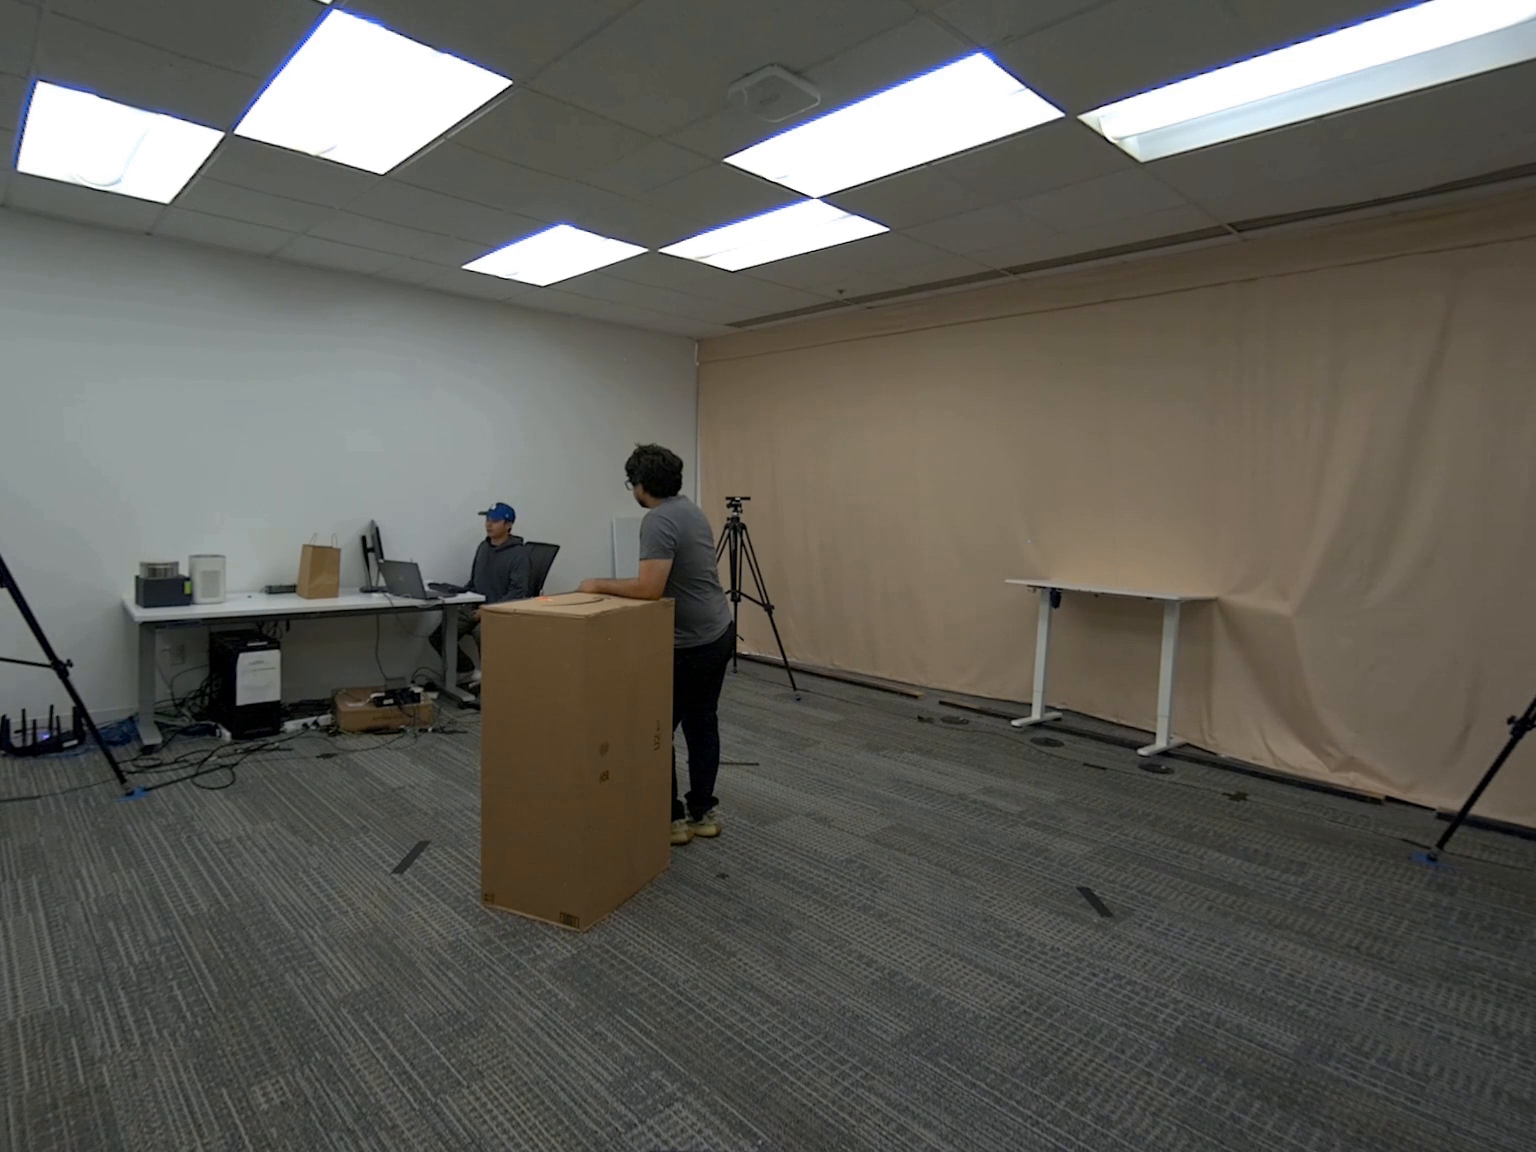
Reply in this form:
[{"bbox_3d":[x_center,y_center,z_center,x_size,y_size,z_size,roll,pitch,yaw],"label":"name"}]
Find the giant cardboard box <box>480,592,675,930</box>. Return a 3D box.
[{"bbox_3d":[-0.677,0.599,2.986,0.434,1.023,0.568,3,4,25],"label":"giant cardboard box"}]
